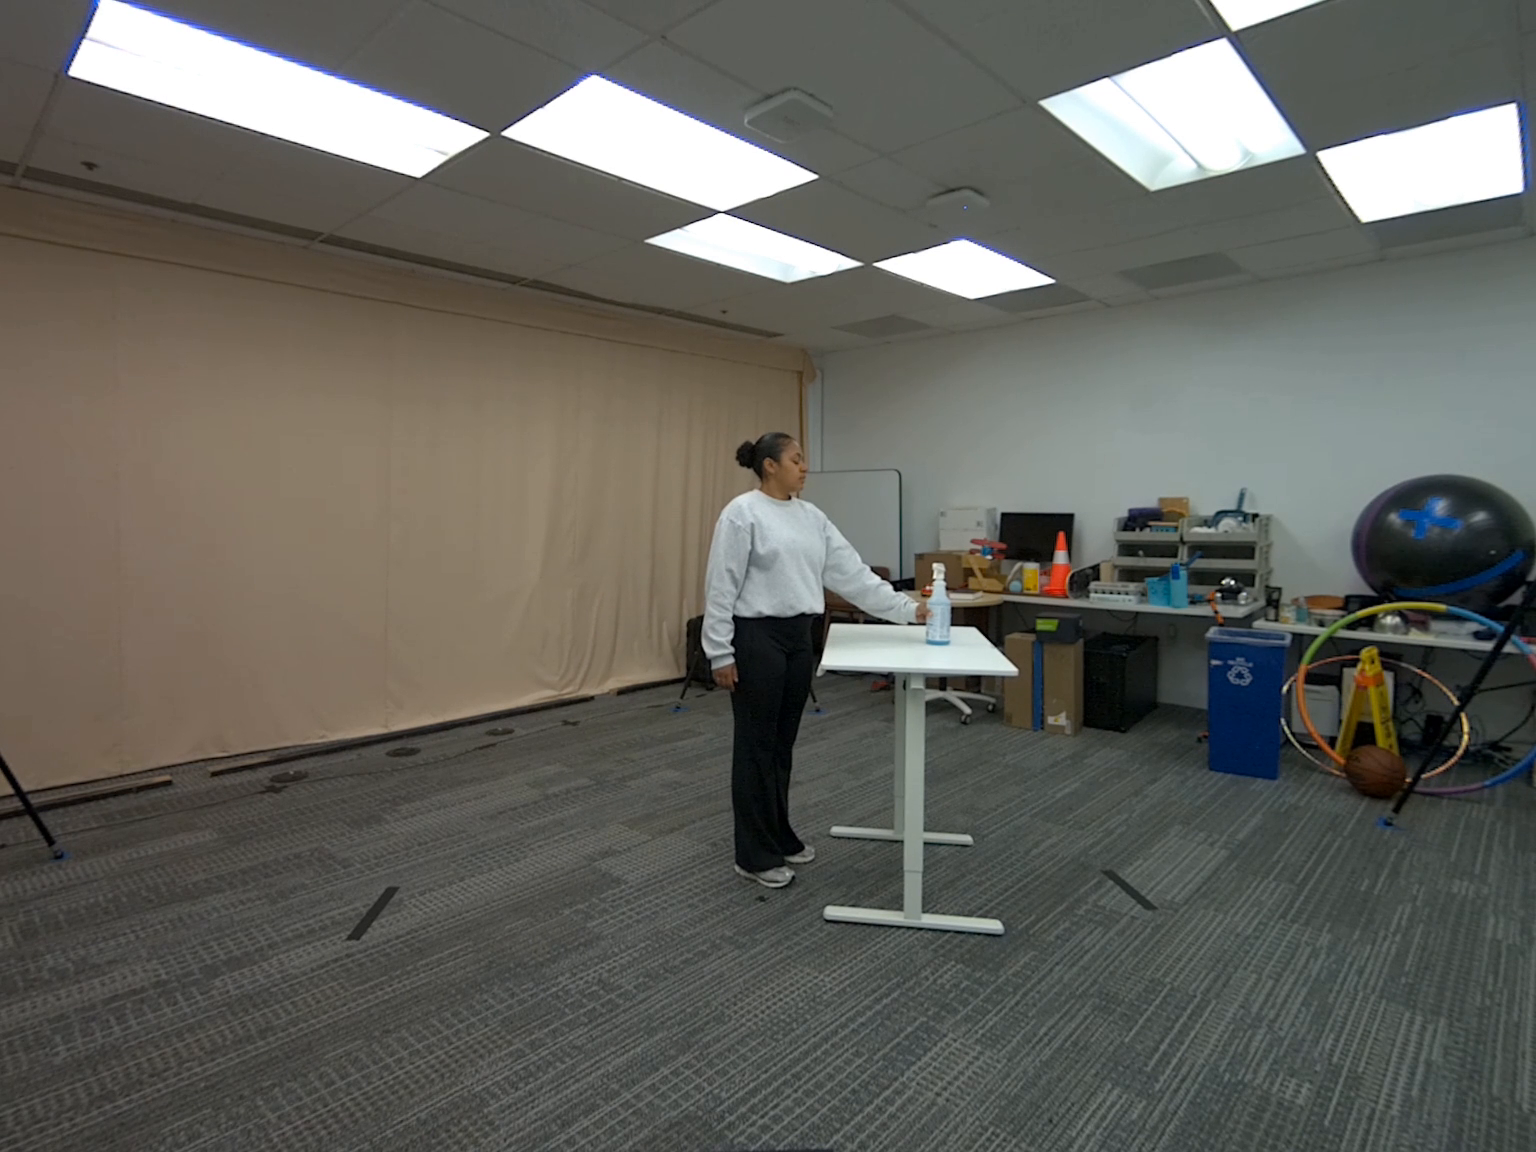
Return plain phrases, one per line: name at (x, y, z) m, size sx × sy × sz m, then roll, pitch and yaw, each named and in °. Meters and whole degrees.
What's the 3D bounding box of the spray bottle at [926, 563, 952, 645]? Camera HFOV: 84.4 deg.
spray bottle at (0.636, 0.104, 3.092) m, size 0.088 × 0.297 × 0.089 m, roll 1°, pitch 3°, yaw -27°
